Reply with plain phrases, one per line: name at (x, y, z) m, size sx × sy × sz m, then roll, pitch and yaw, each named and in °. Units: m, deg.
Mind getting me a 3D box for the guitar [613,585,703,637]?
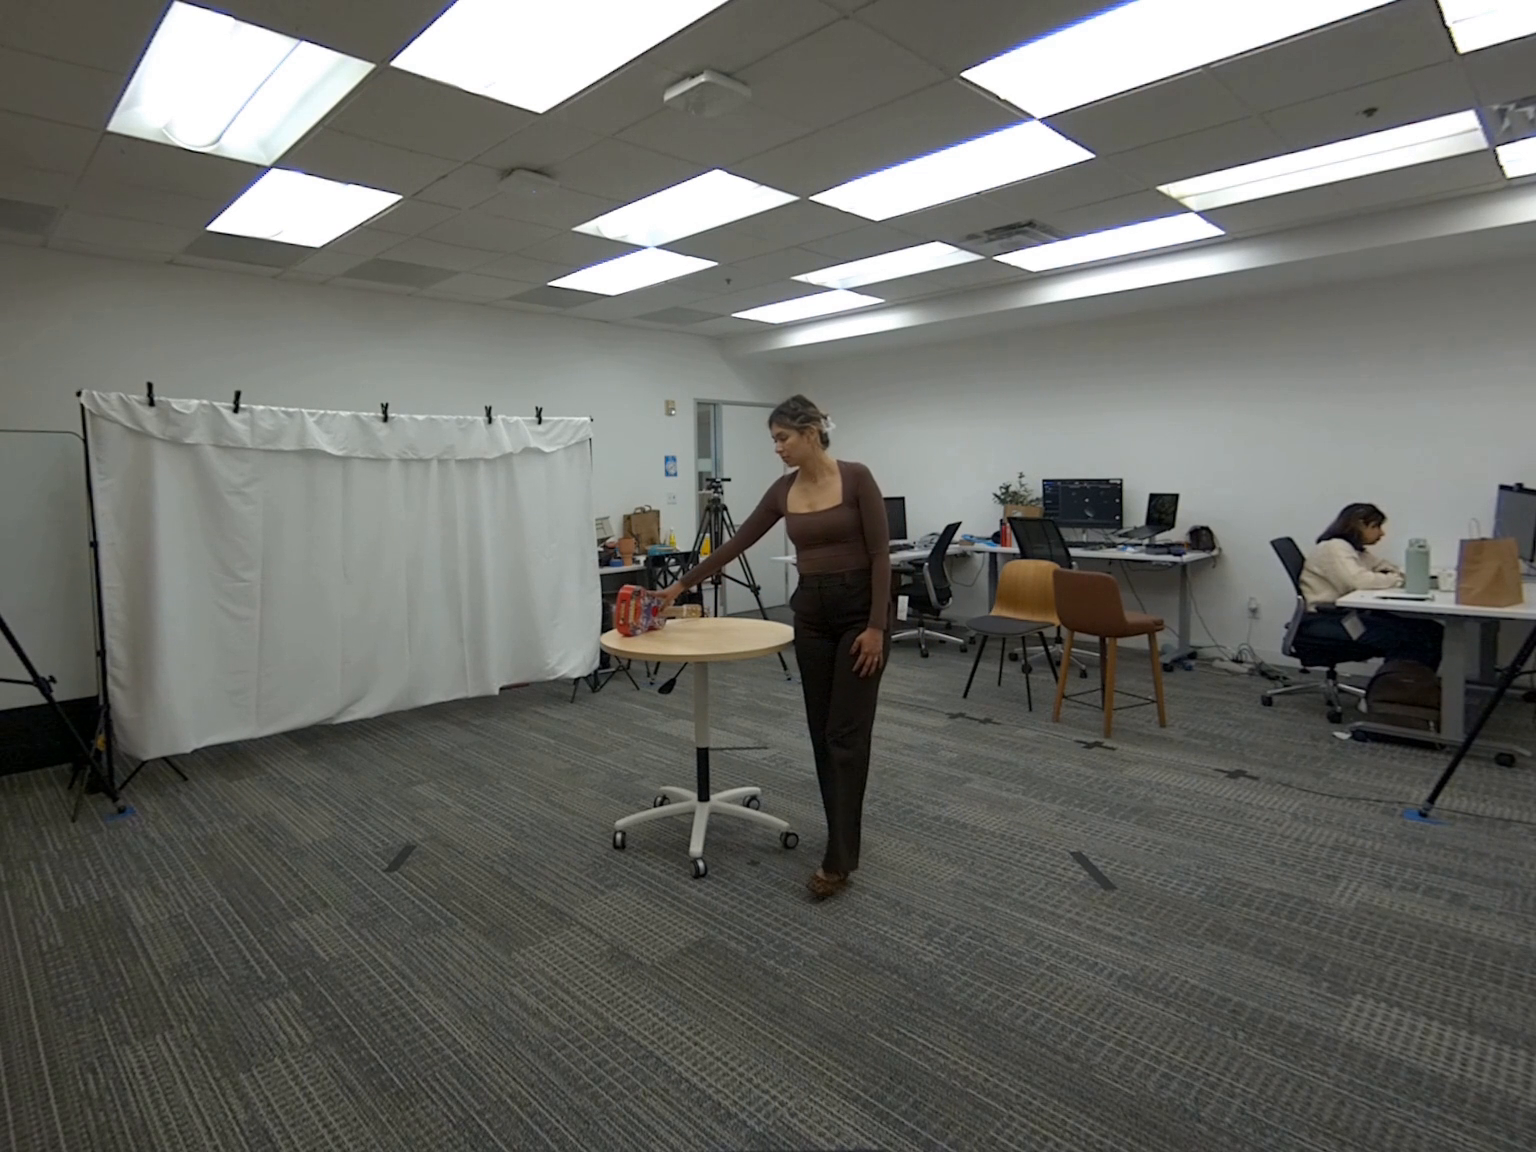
guitar at (-0.435, 0.170, 3.471) m, size 0.072 × 0.195 × 0.481 m, roll 1°, pitch -12°, yaw 29°
